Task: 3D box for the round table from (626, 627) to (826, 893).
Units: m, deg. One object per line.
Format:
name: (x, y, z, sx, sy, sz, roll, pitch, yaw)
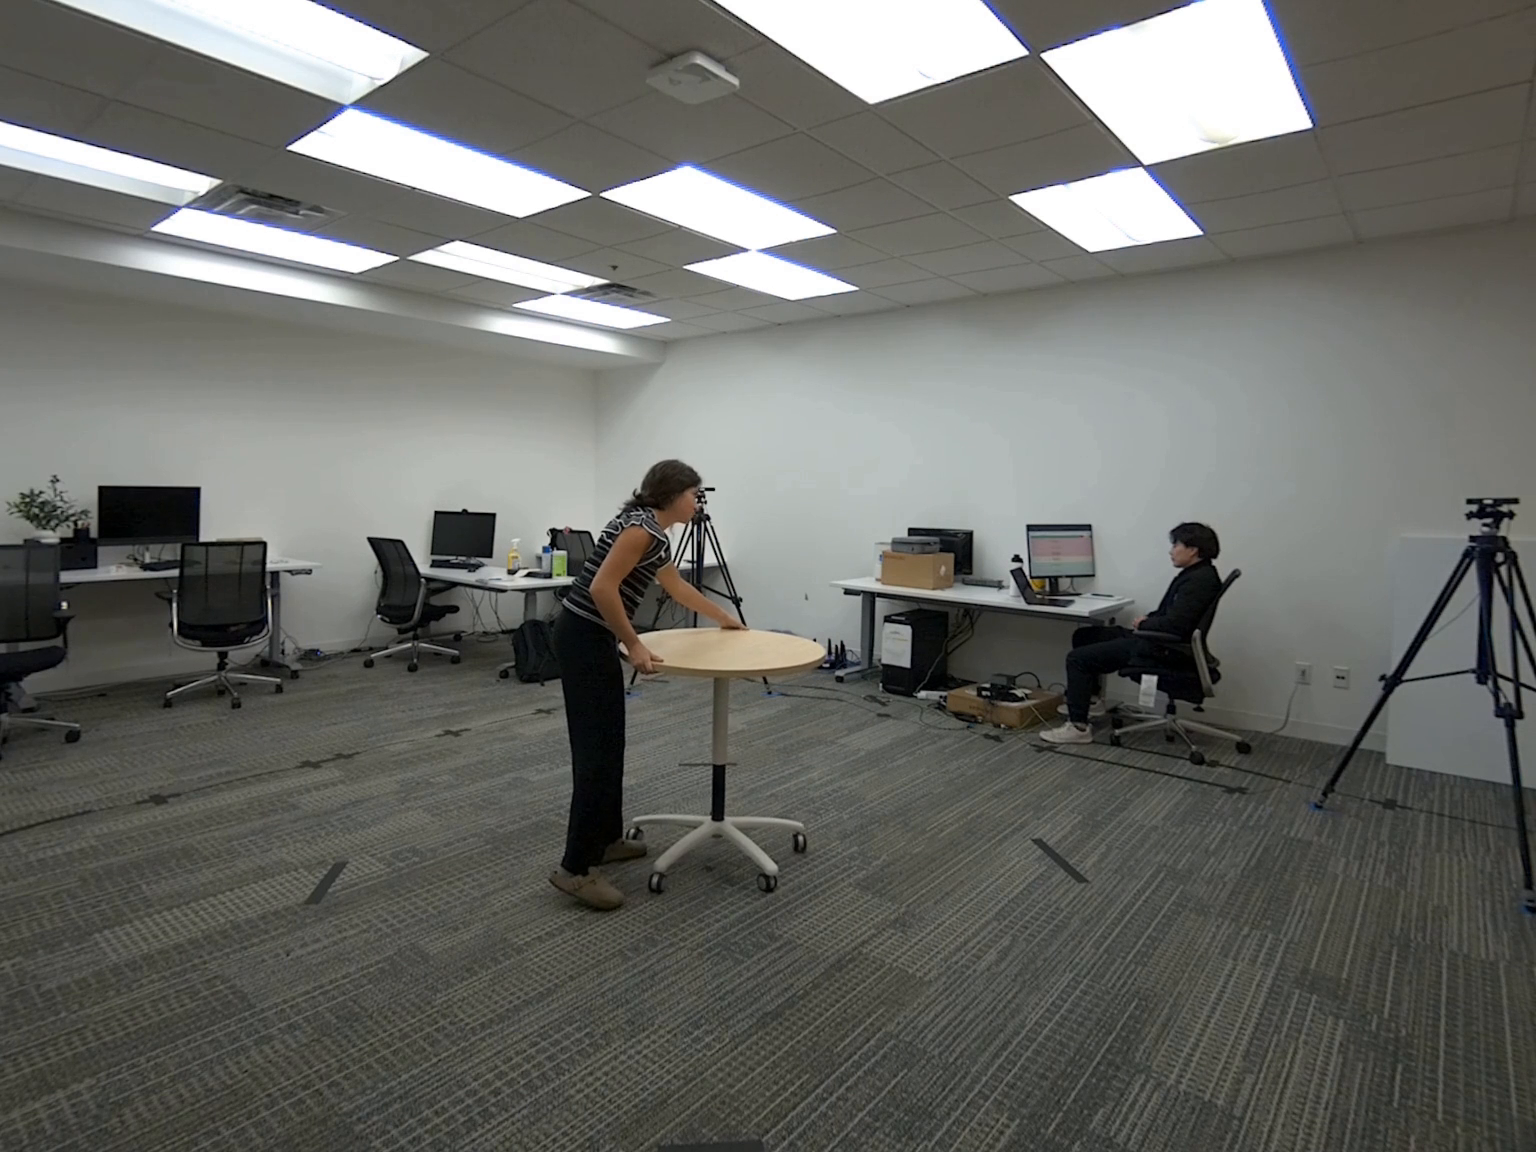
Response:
round table: (-0.182, 0.662, 3.178, 0.763, 0.791, 0.768, 1, 5, -2)
